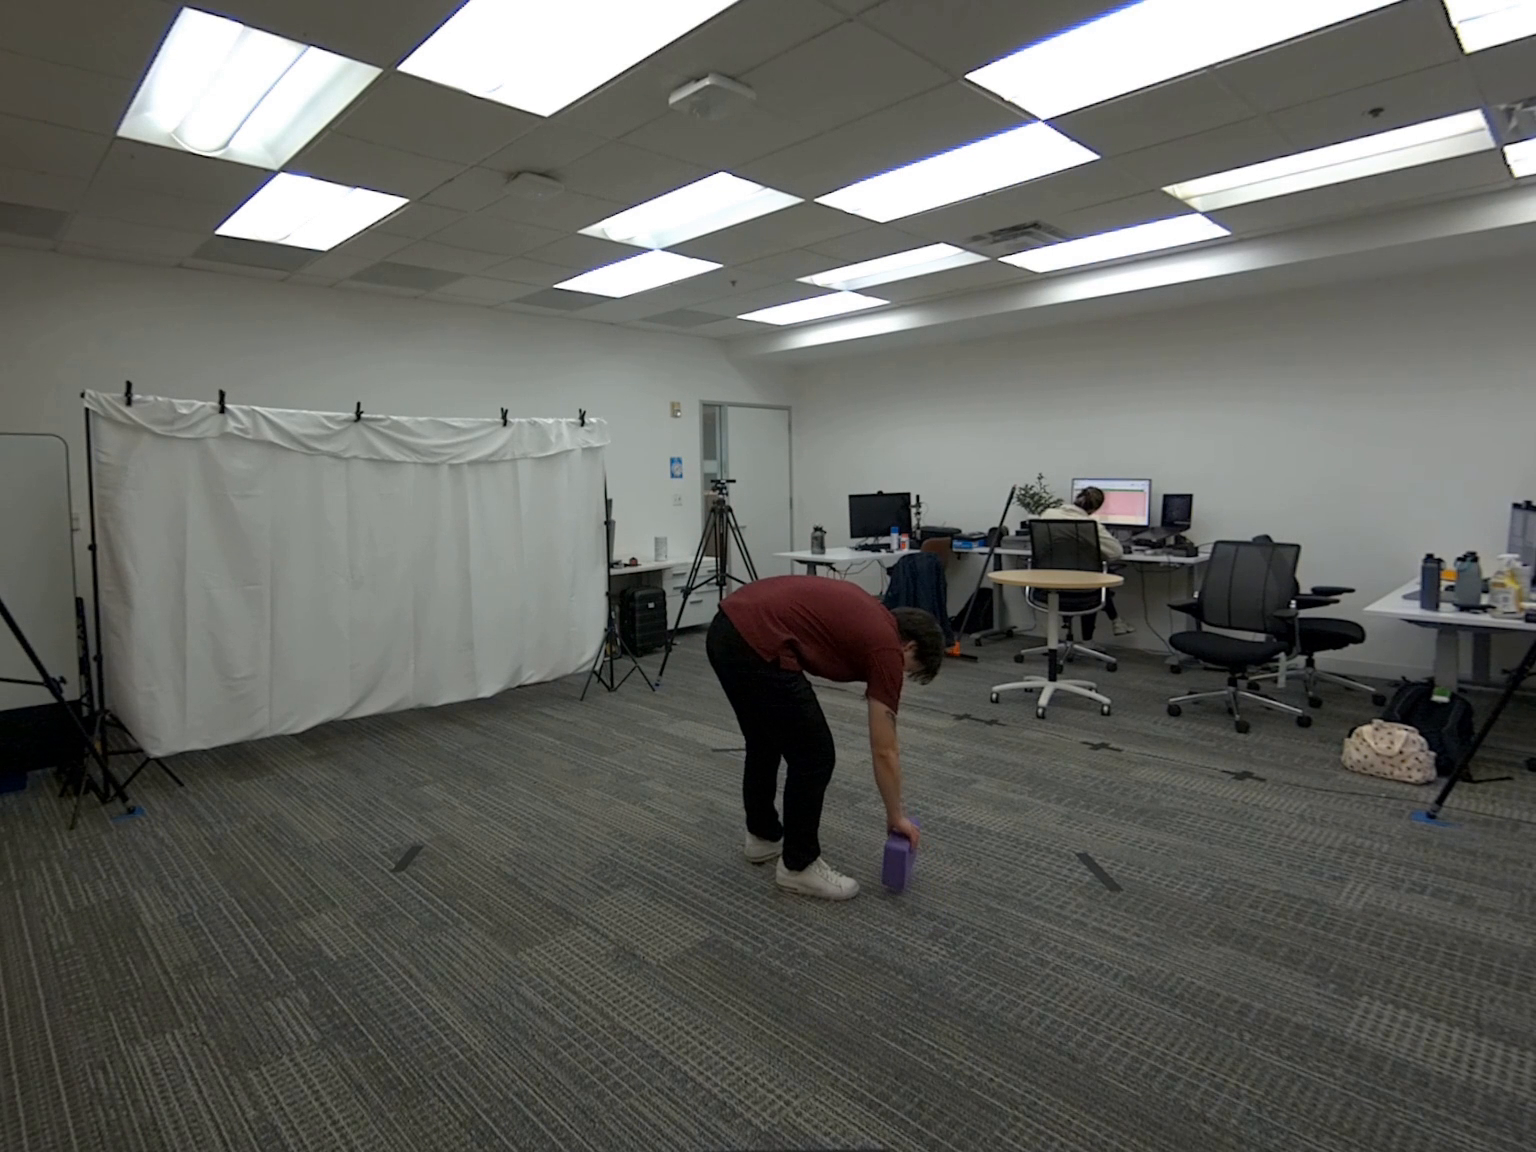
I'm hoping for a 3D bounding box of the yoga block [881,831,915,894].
[{"bbox_3d":[0.455,0.945,2.924,0.078,0.147,0.227,6,13,19],"label":"yoga block"}]
